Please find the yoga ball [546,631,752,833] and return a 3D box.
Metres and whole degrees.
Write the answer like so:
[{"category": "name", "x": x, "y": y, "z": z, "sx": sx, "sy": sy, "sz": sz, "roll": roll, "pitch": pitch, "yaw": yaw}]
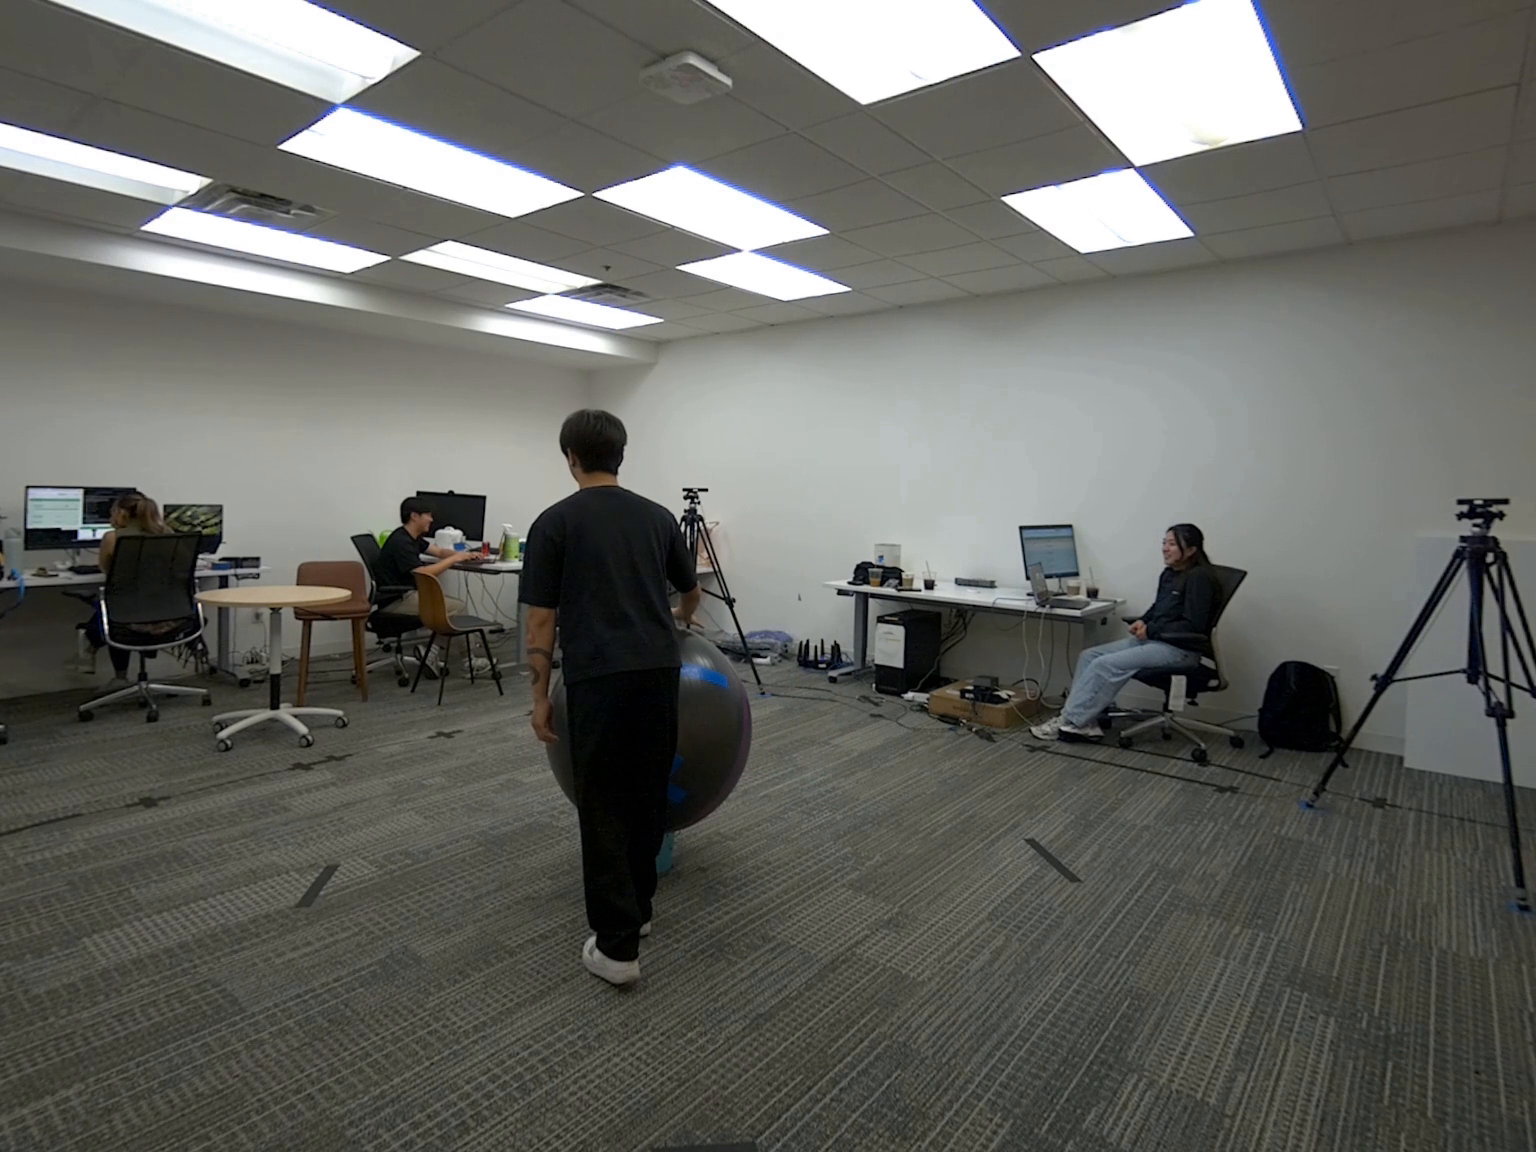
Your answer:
[{"category": "yoga ball", "x": -0.448, "y": 0.549, "z": 3.134, "sx": 0.757, "sy": 0.756, "sz": 0.762, "roll": 1, "pitch": 4, "yaw": -2}]
